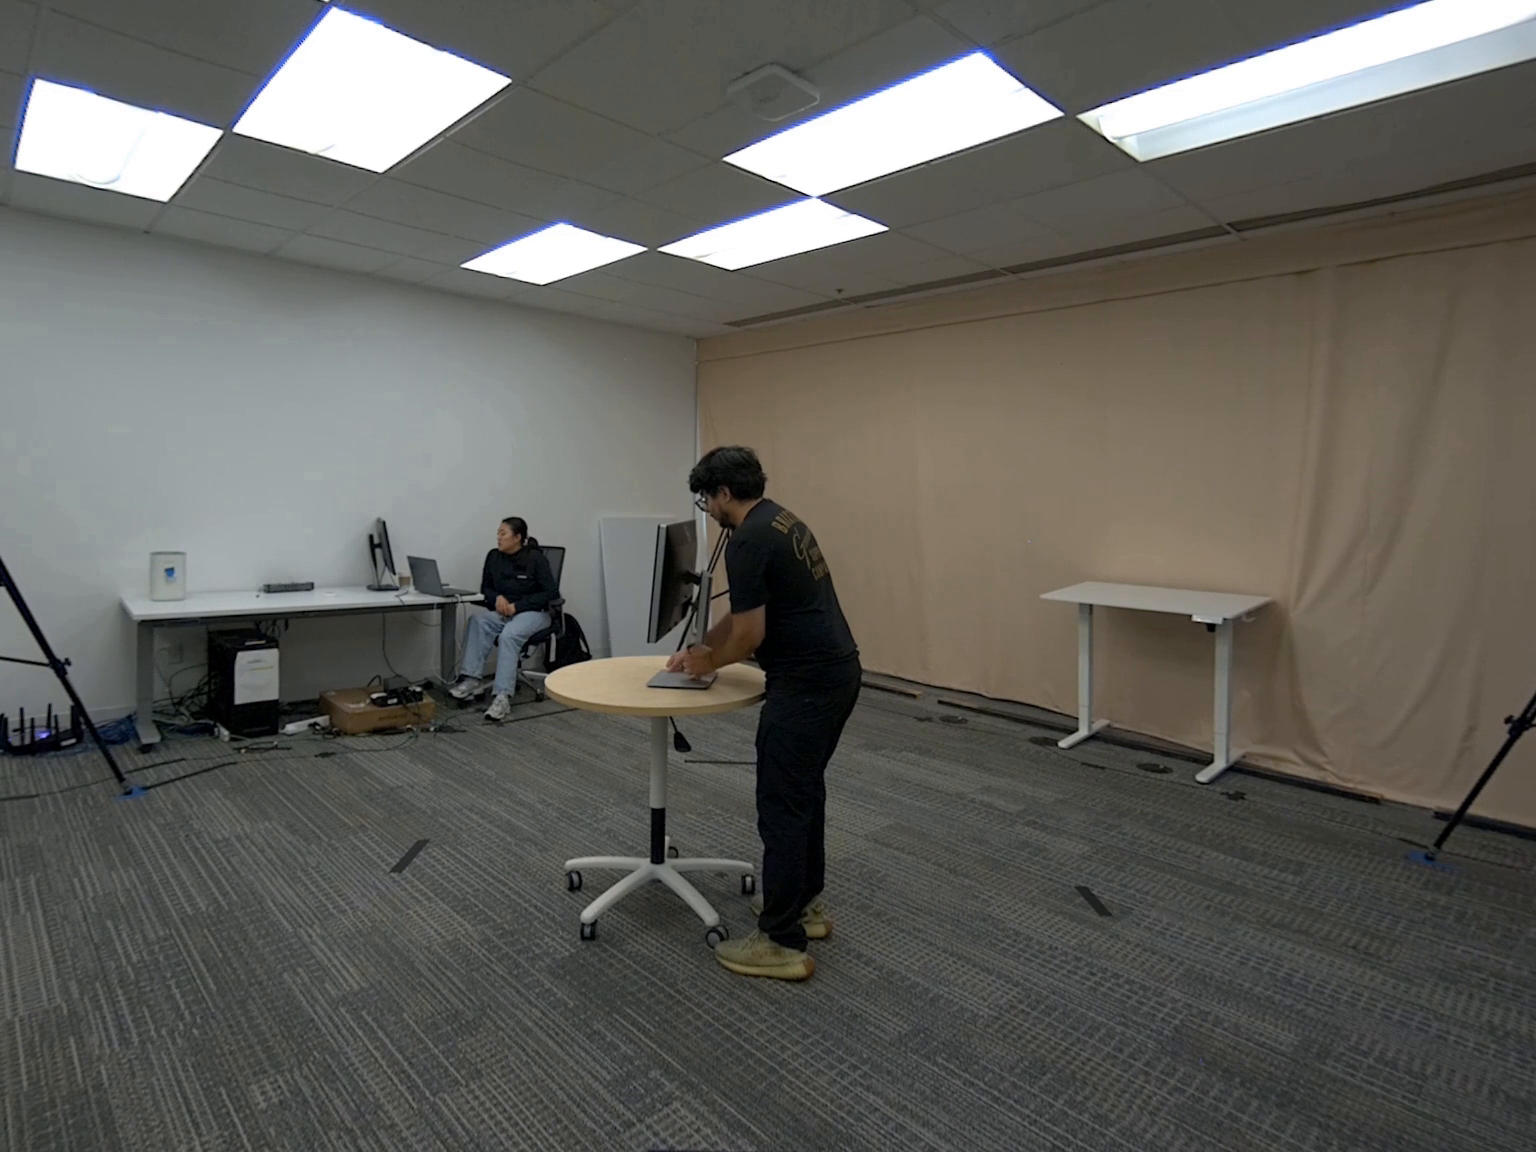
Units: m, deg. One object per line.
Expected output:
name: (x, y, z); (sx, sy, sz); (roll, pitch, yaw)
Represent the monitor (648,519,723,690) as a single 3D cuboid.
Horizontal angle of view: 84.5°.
monitor: (-0.254, 0.094, 2.787); (0.211, 0.553, 0.564); (4, 4, 3)
